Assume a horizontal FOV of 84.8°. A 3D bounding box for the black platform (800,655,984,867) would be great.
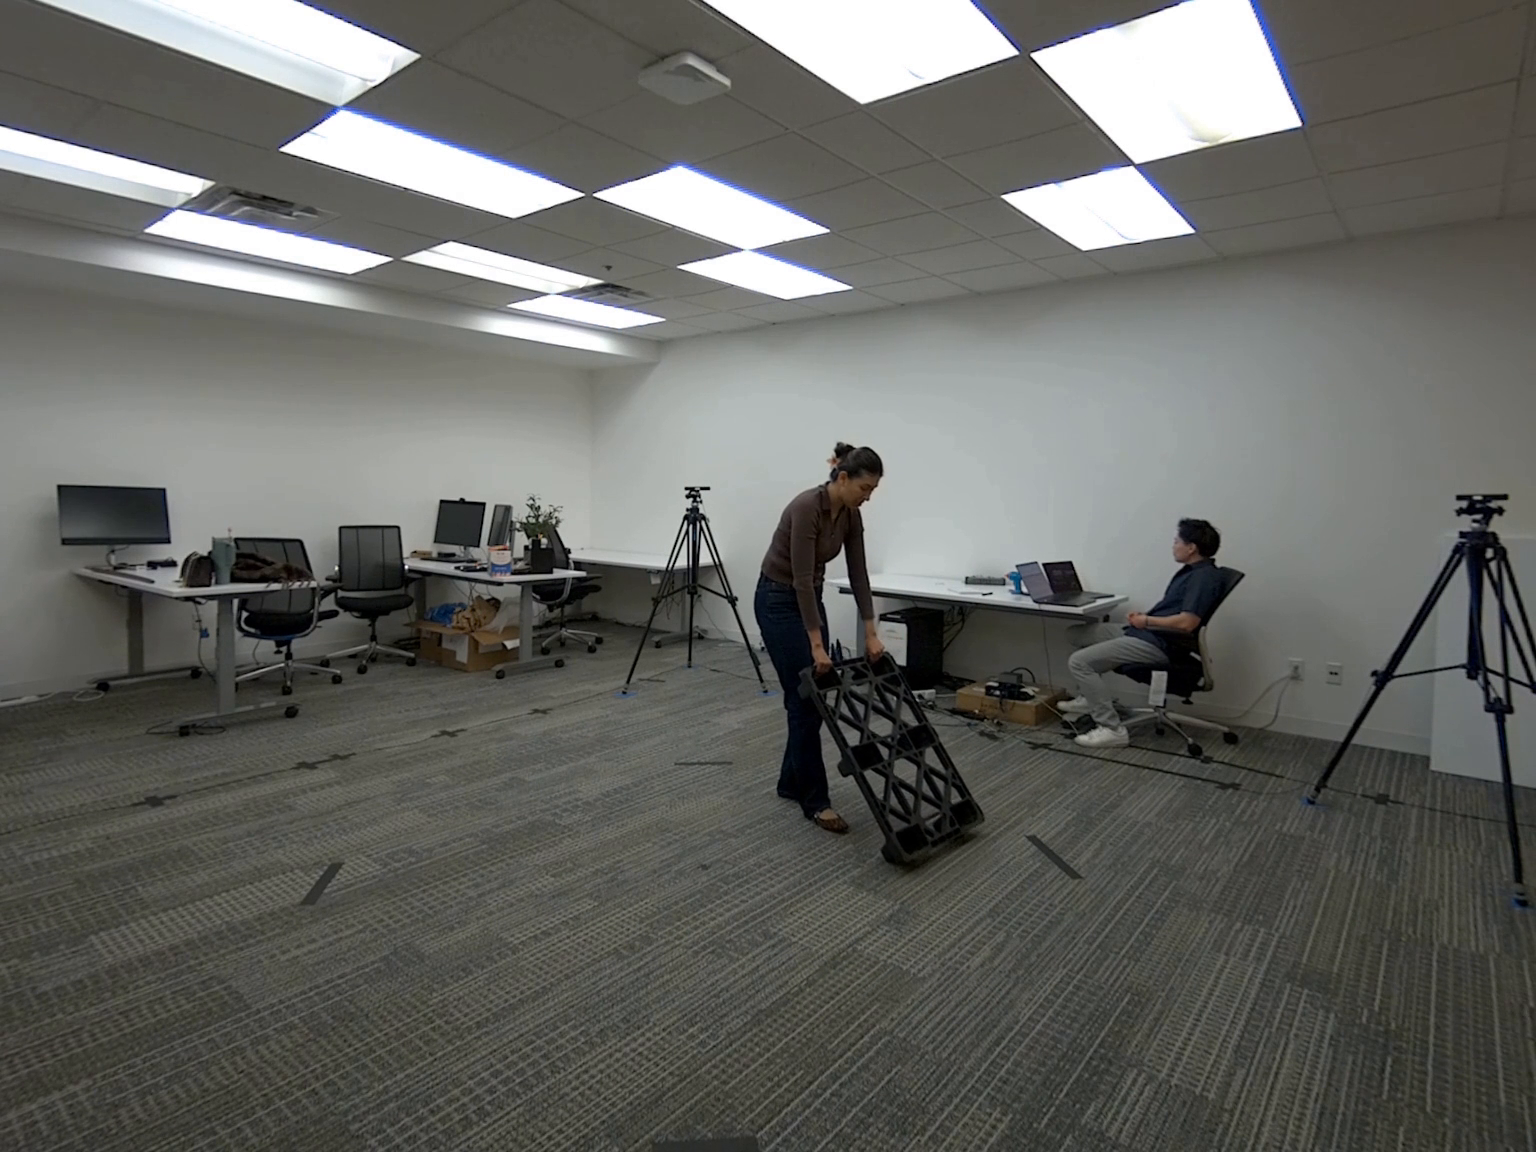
[{"bbox_3d":[0.478,0.709,3.467,0.586,0.829,0.143,-2,-34,-46],"label":"black platform"}]
